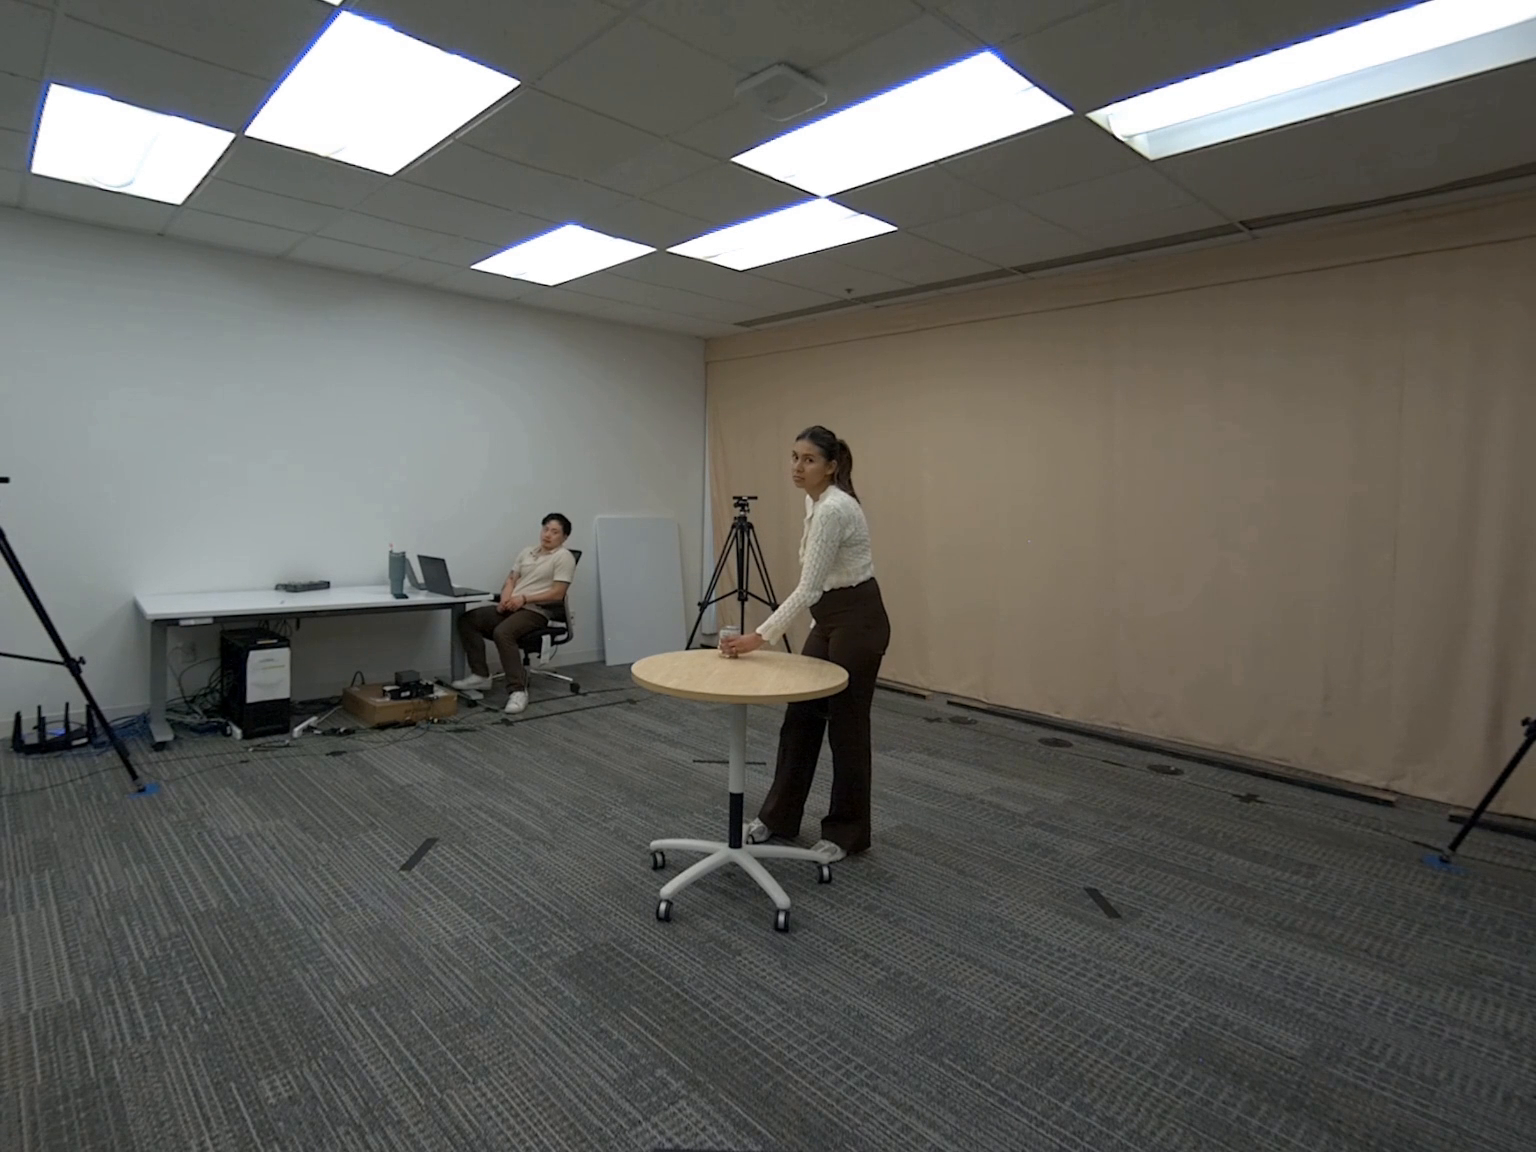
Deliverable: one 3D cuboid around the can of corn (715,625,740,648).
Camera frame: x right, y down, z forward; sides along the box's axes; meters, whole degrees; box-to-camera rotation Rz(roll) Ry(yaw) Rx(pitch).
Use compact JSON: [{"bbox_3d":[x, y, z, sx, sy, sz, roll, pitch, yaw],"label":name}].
[{"bbox_3d":[-0.150,0.248,3.203,0.074,0.111,0.074,2,3,-1],"label":"can of corn"}]
